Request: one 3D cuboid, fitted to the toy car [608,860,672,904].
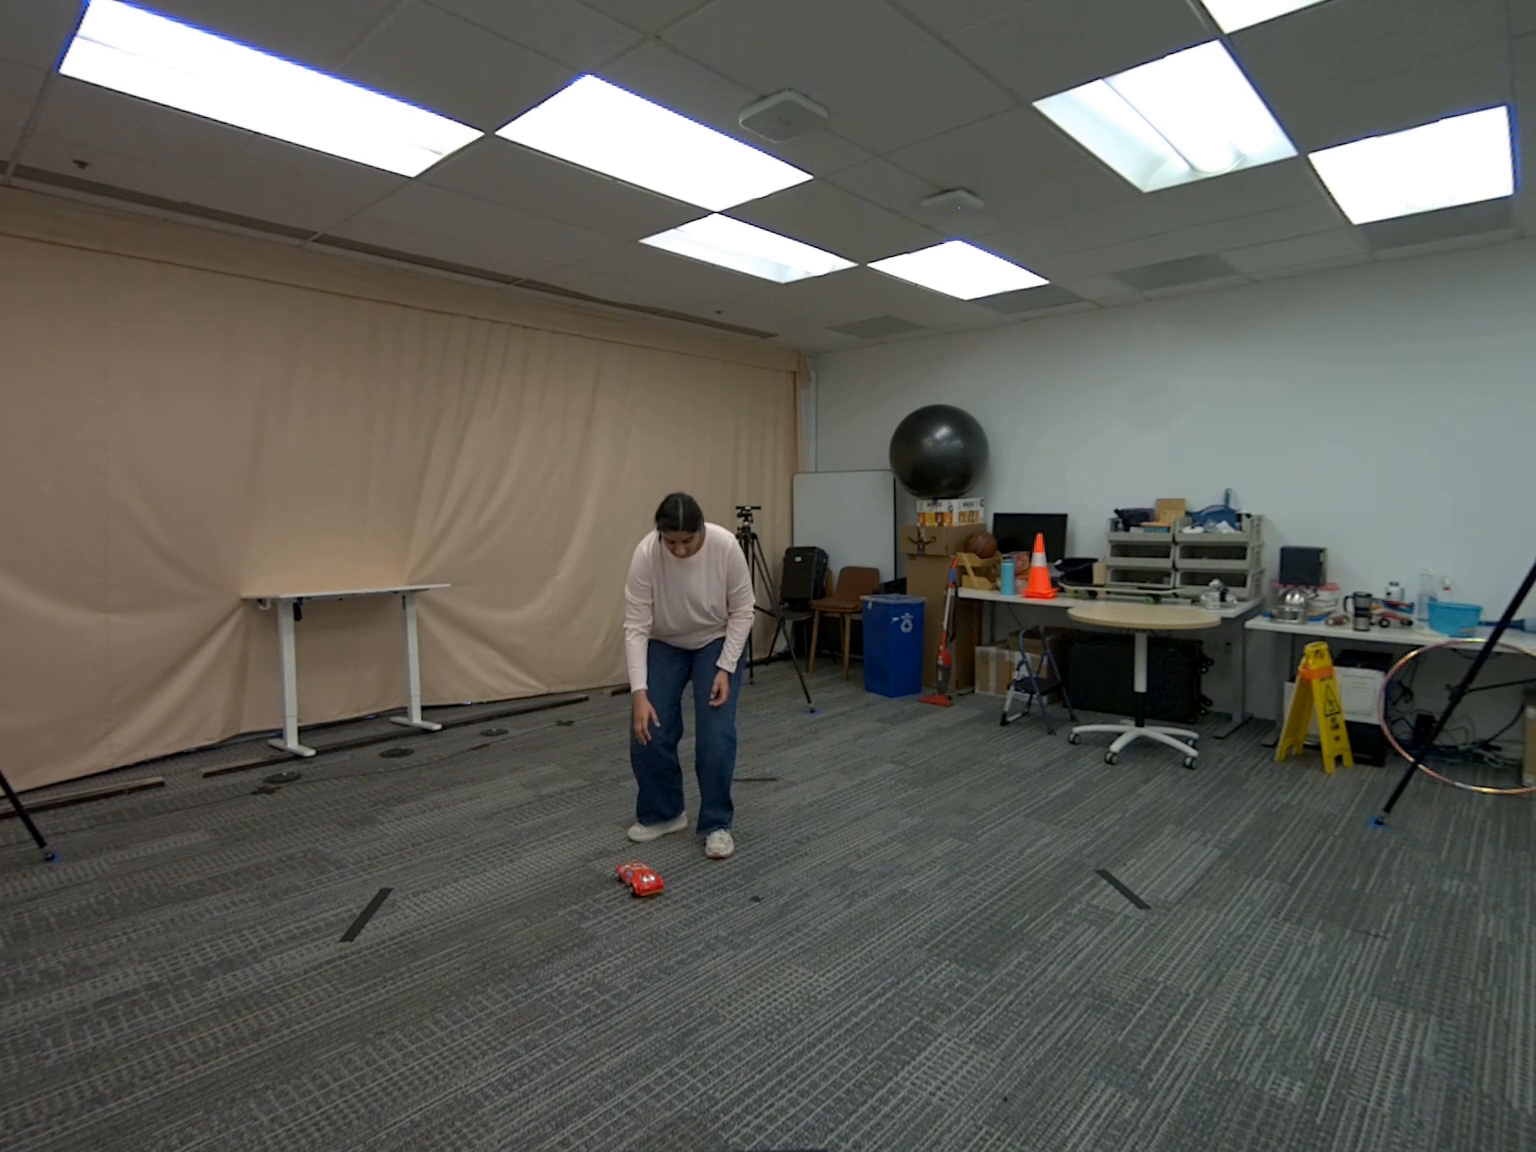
[{"bbox_3d":[-0.469,1.104,3.073,0.127,0.083,0.260,-3,-7,-31],"label":"toy car"}]
